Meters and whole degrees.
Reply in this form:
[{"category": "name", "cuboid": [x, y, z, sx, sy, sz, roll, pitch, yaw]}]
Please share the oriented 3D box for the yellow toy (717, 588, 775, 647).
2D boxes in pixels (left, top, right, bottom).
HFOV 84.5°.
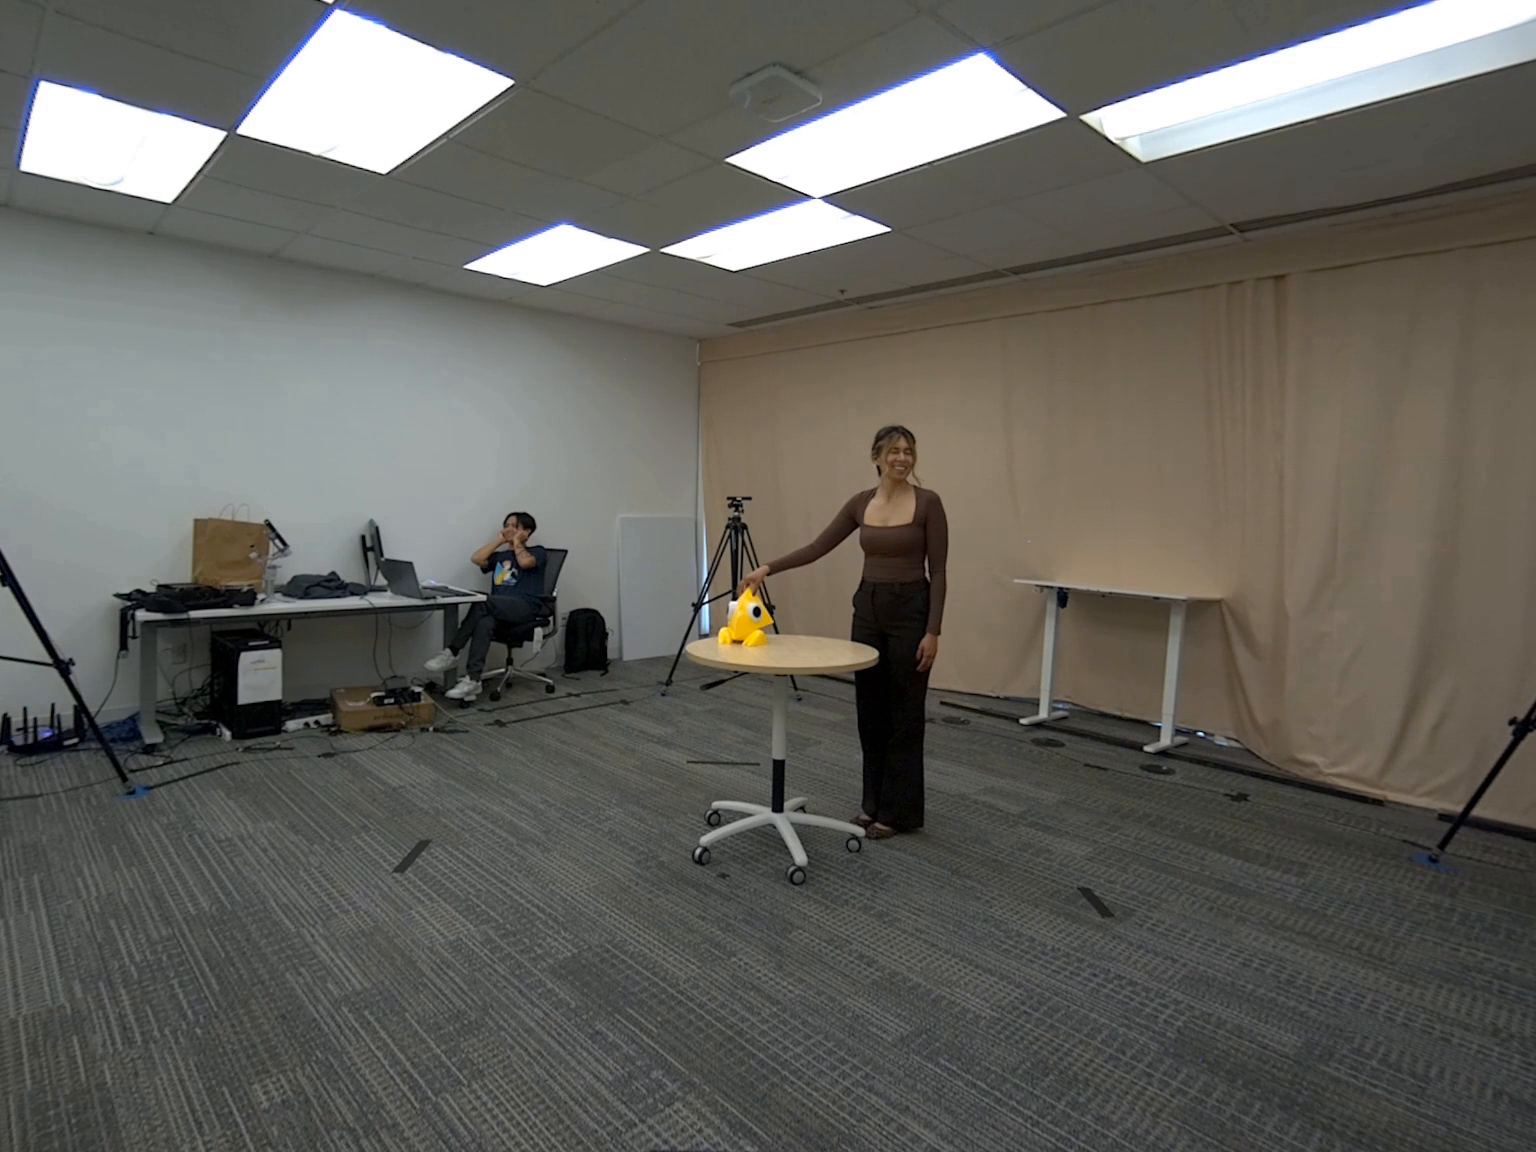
[{"category": "yellow toy", "cuboid": [-0.110, 0.163, 3.511, 0.208, 0.230, 0.190, 2, 2, 22]}]
